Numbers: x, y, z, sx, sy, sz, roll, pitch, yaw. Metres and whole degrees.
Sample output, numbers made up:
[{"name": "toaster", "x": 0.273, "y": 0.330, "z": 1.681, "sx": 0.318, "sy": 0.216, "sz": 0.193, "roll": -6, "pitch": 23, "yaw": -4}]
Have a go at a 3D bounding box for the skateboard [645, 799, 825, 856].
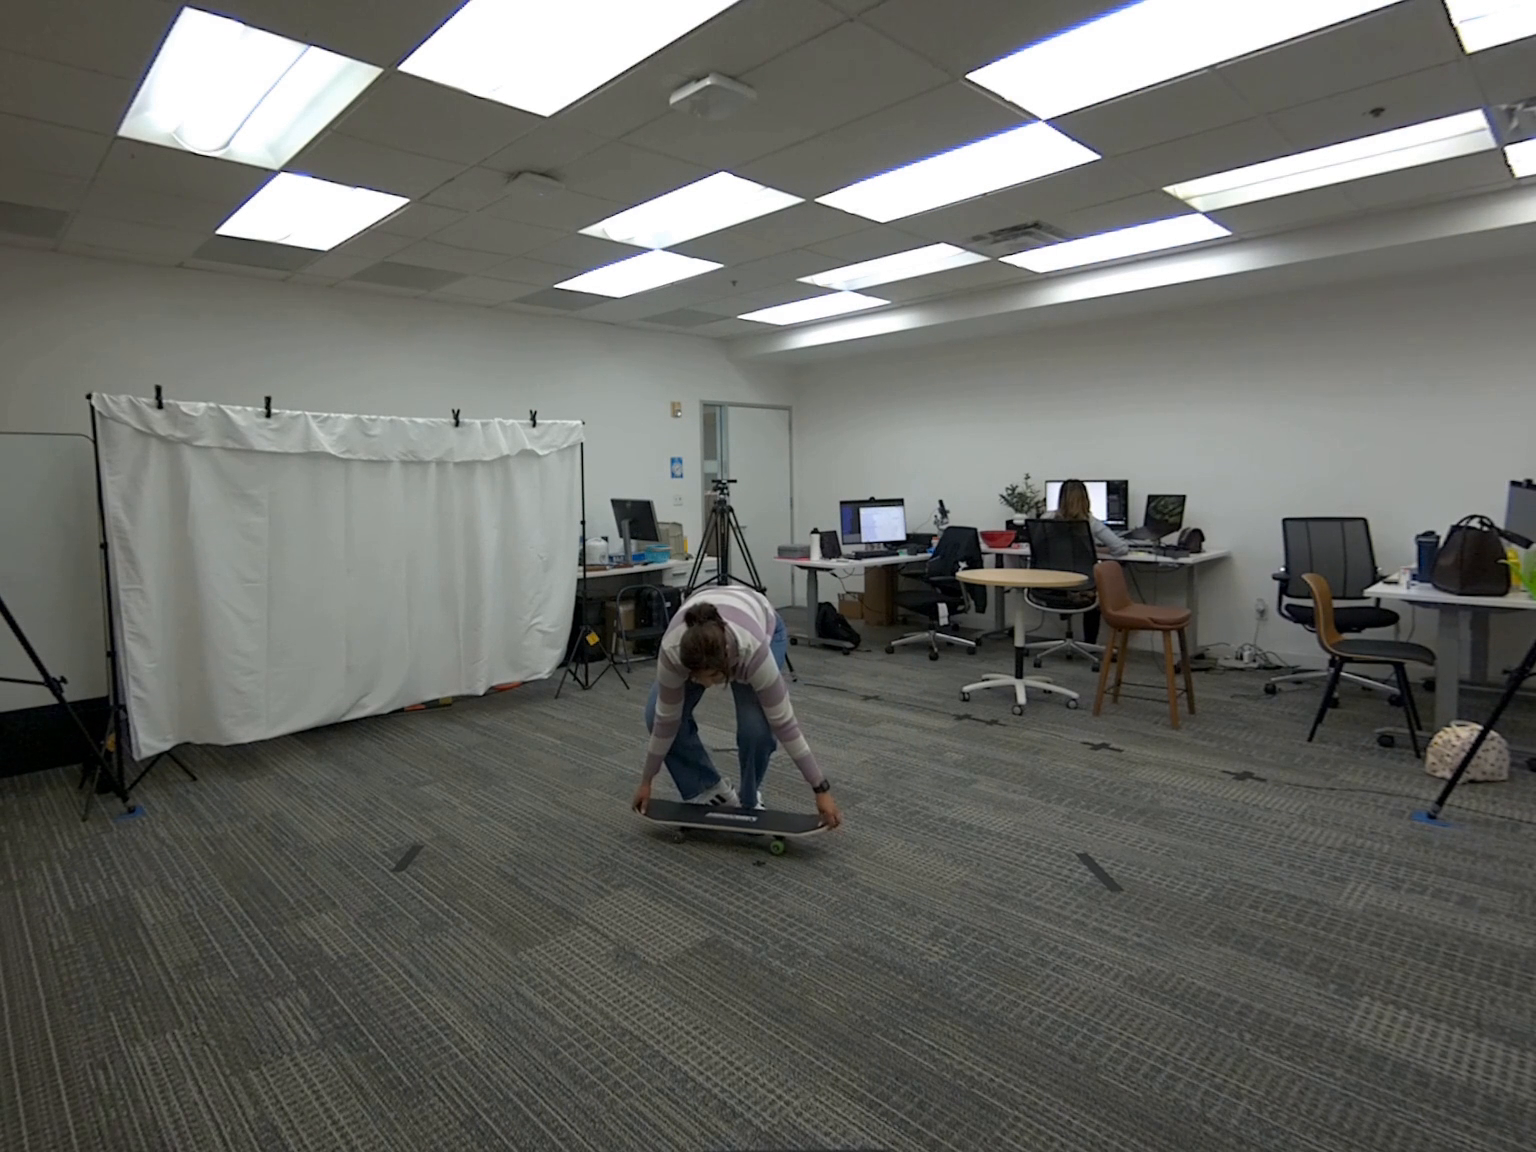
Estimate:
[{"name": "skateboard", "x": -0.132, "y": 0.963, "z": 3.294, "sx": 0.798, "sy": 0.110, "sz": 0.191, "roll": -1, "pitch": 6, "yaw": 17}]
